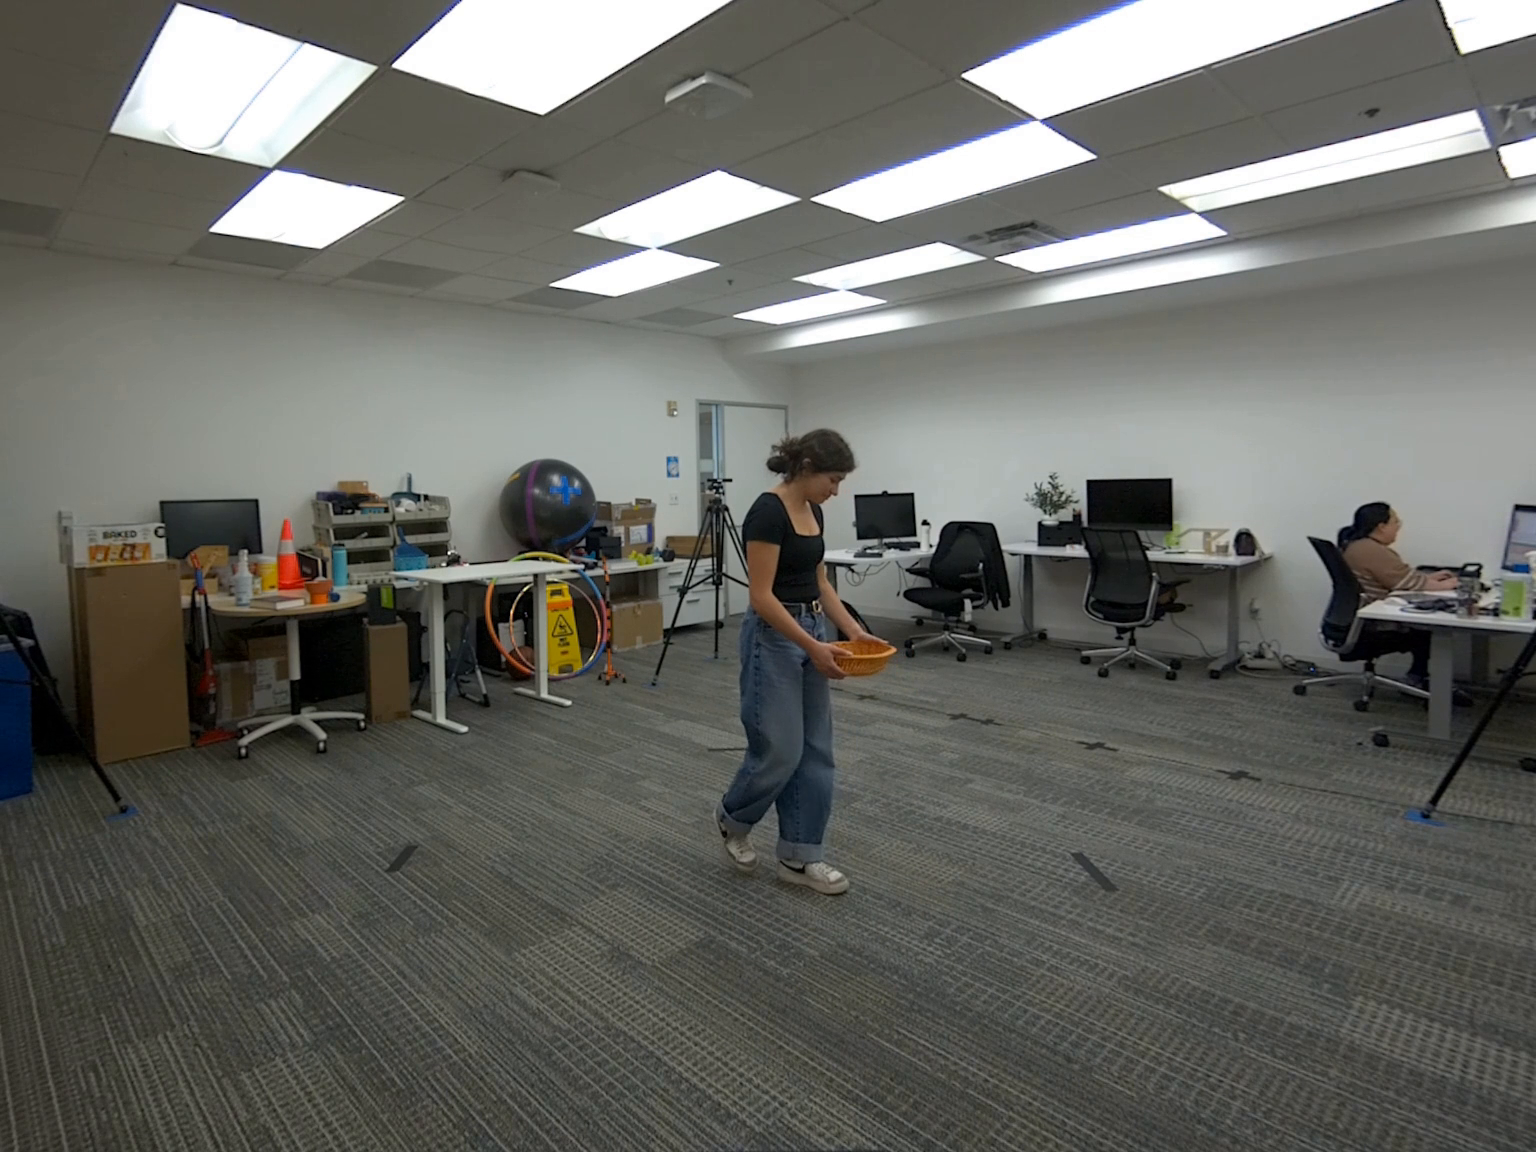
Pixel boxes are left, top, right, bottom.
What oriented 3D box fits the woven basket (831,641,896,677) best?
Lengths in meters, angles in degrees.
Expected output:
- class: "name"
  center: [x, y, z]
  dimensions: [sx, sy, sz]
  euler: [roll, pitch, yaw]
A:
- class: "woven basket"
  center: [0.259, 0.276, 2.815]
  dimensions: [0.260, 0.073, 0.341]
  euler: [5, 4, 34]
